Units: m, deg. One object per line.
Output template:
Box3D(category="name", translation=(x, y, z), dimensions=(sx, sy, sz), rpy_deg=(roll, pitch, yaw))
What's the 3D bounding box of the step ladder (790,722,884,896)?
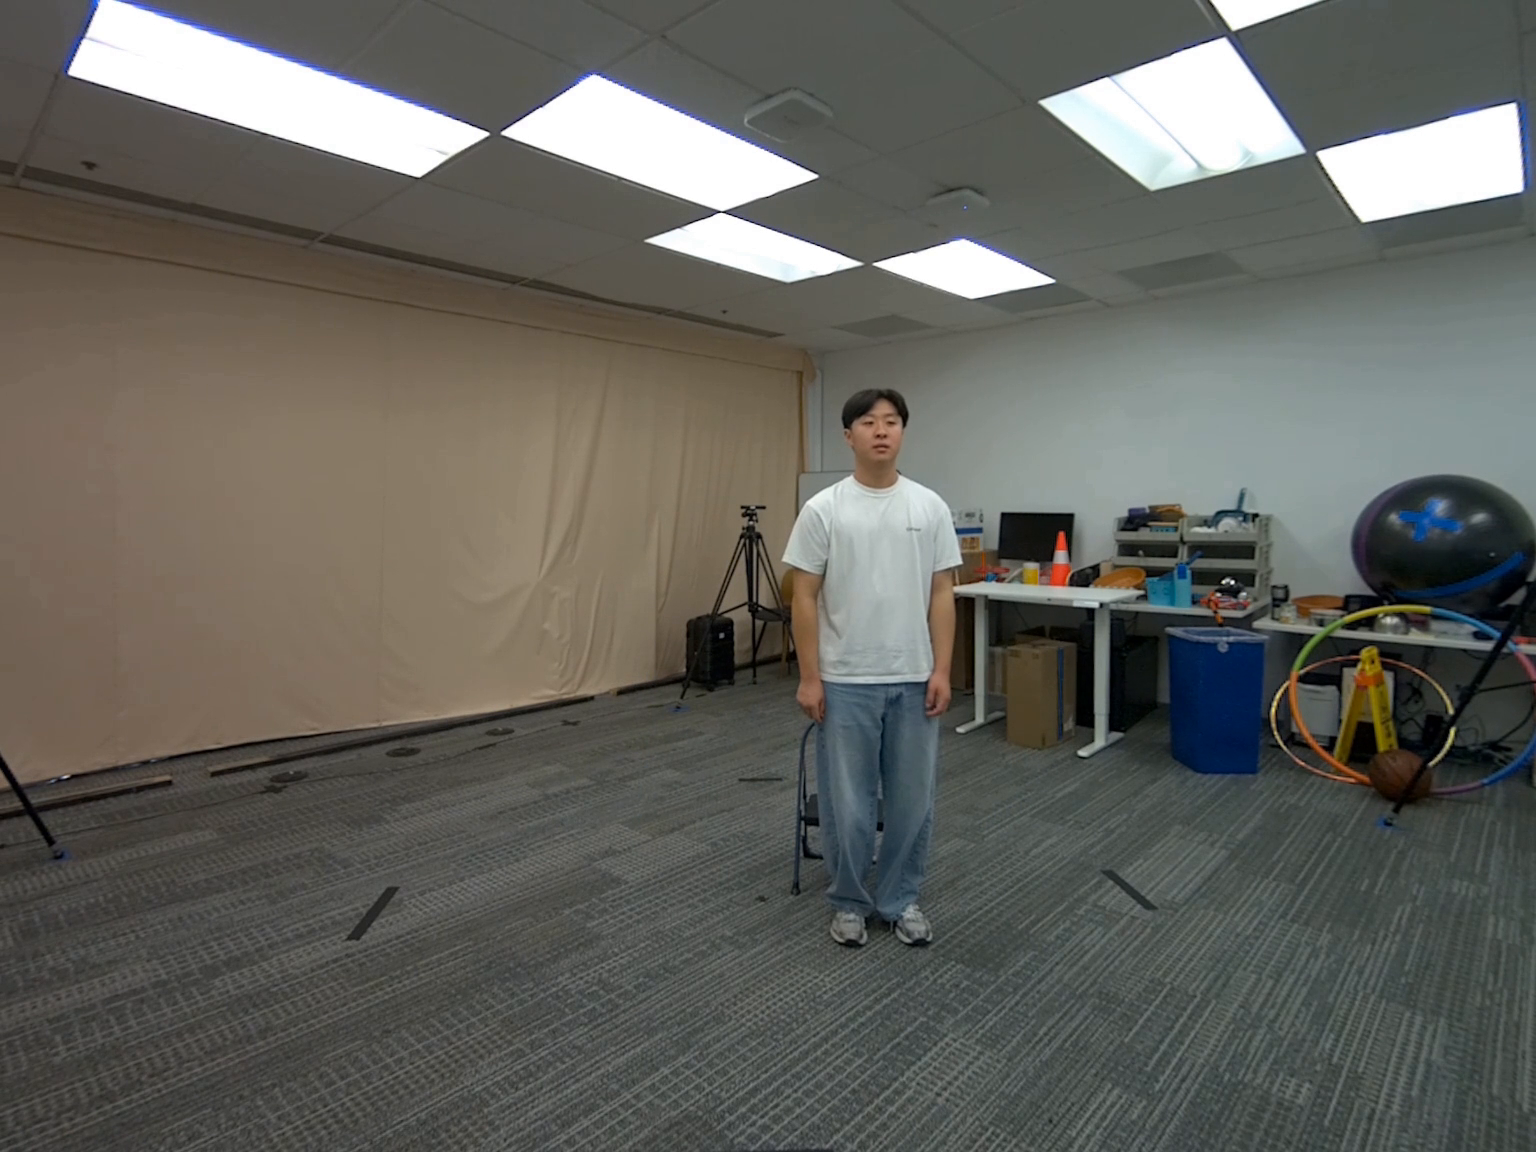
Box3D(category="step ladder", translation=(0.327, 0.828, 3.124), dimensions=(0.436, 0.605, 0.346), rpy_deg=(1, 4, 10))
